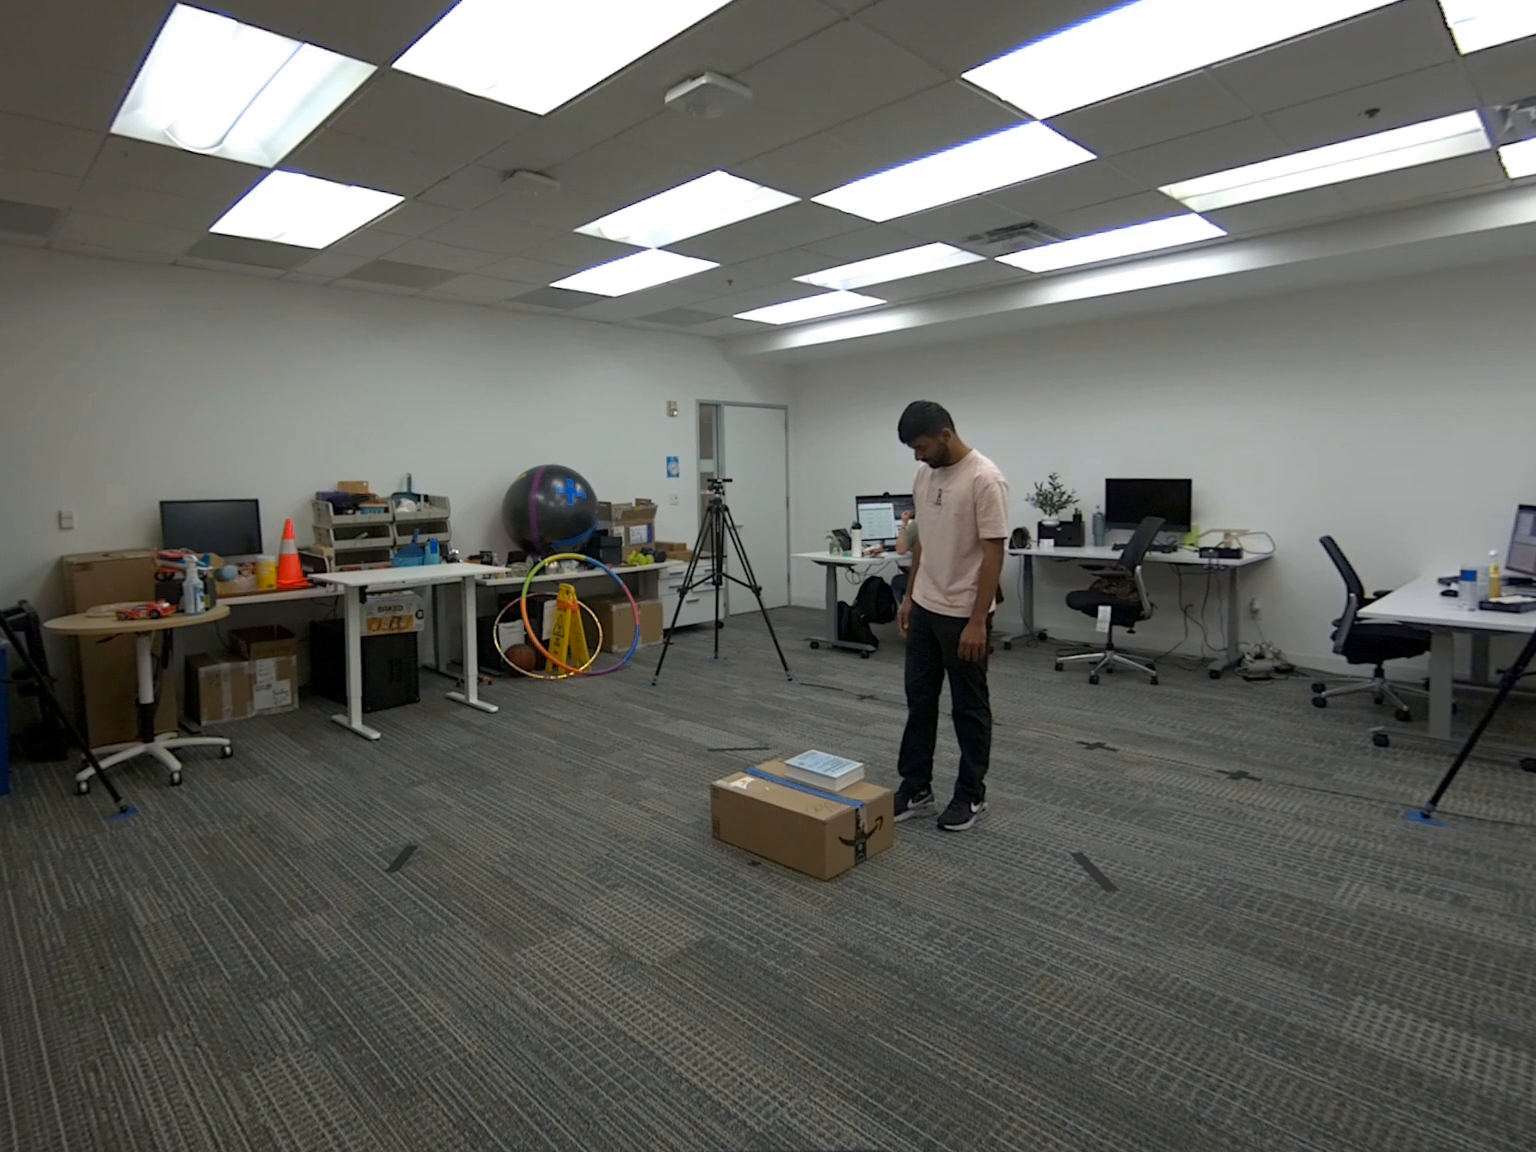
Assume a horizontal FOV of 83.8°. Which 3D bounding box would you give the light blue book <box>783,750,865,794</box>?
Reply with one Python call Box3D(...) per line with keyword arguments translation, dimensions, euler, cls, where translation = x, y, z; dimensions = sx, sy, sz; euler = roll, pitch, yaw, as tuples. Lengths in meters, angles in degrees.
Box3D(translation=(0.222, 0.765, 3.381), dimensions=(0.269, 0.058, 0.187), euler=(5, 11, 43), cls="light blue book")
